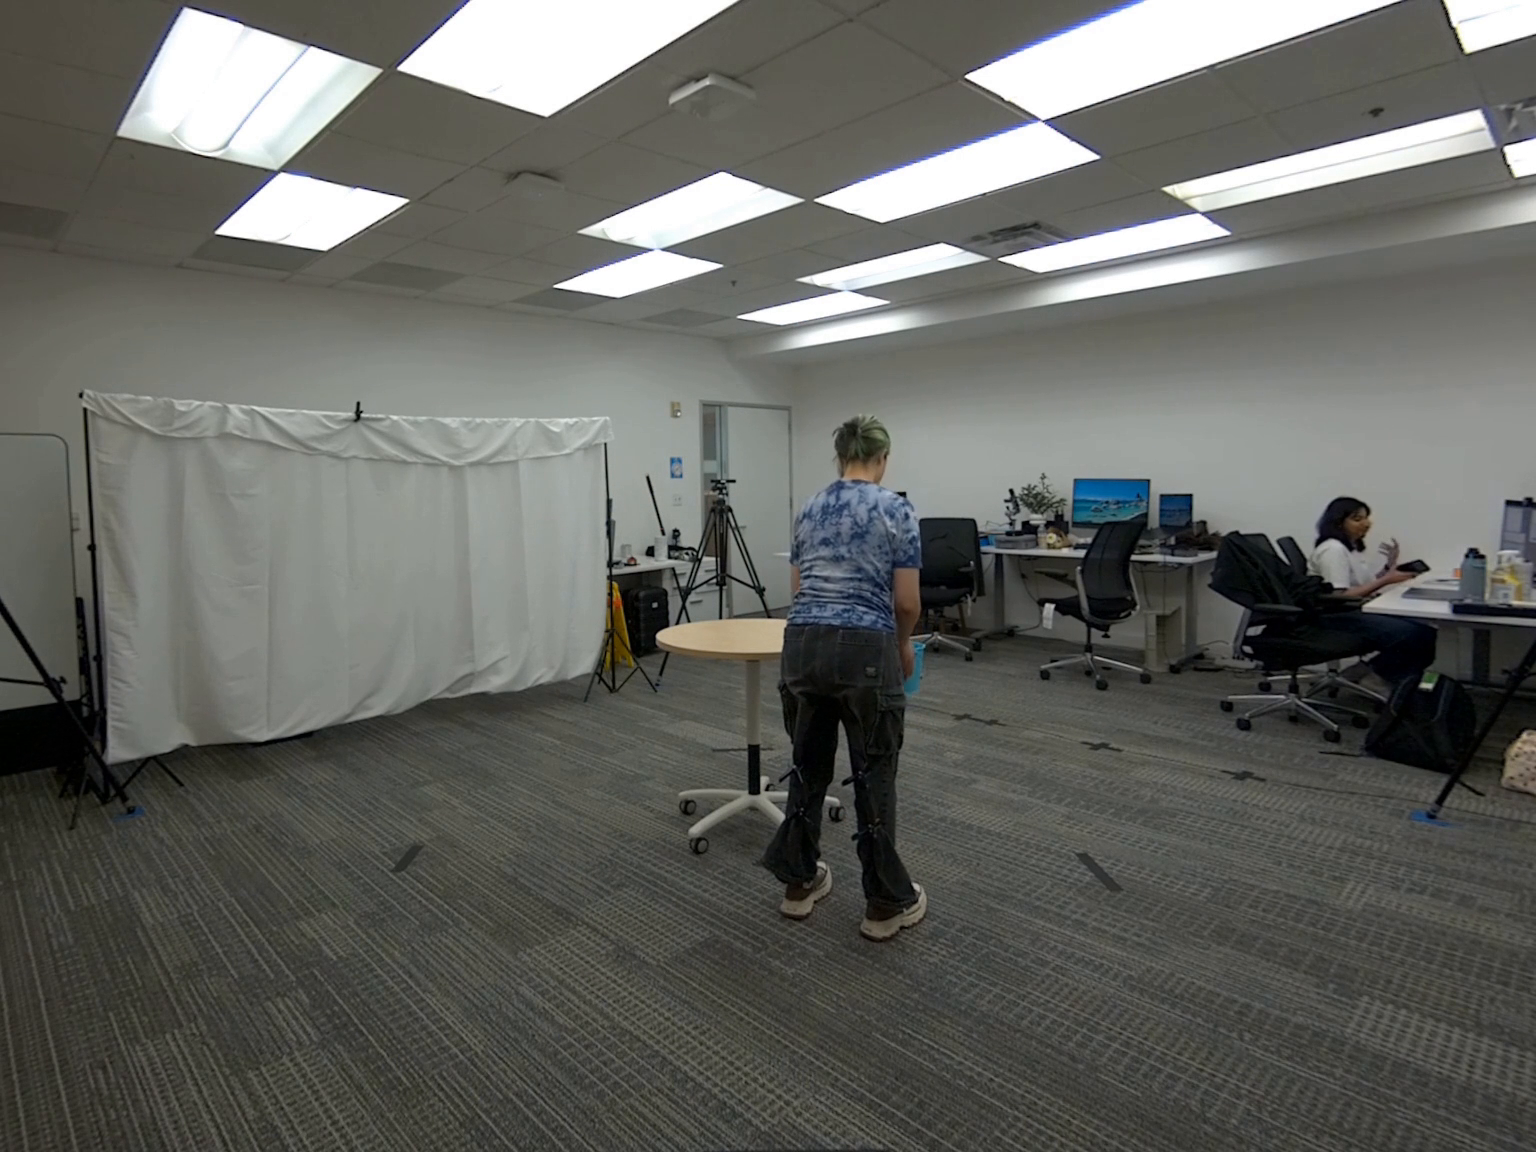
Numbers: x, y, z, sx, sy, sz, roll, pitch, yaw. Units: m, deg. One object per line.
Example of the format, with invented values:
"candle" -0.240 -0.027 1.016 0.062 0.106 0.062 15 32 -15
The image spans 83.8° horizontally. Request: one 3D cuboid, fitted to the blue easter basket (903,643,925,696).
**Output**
"blue easter basket" 0.456 0.325 2.979 0.243 0.155 0.244 -2 4 -2
